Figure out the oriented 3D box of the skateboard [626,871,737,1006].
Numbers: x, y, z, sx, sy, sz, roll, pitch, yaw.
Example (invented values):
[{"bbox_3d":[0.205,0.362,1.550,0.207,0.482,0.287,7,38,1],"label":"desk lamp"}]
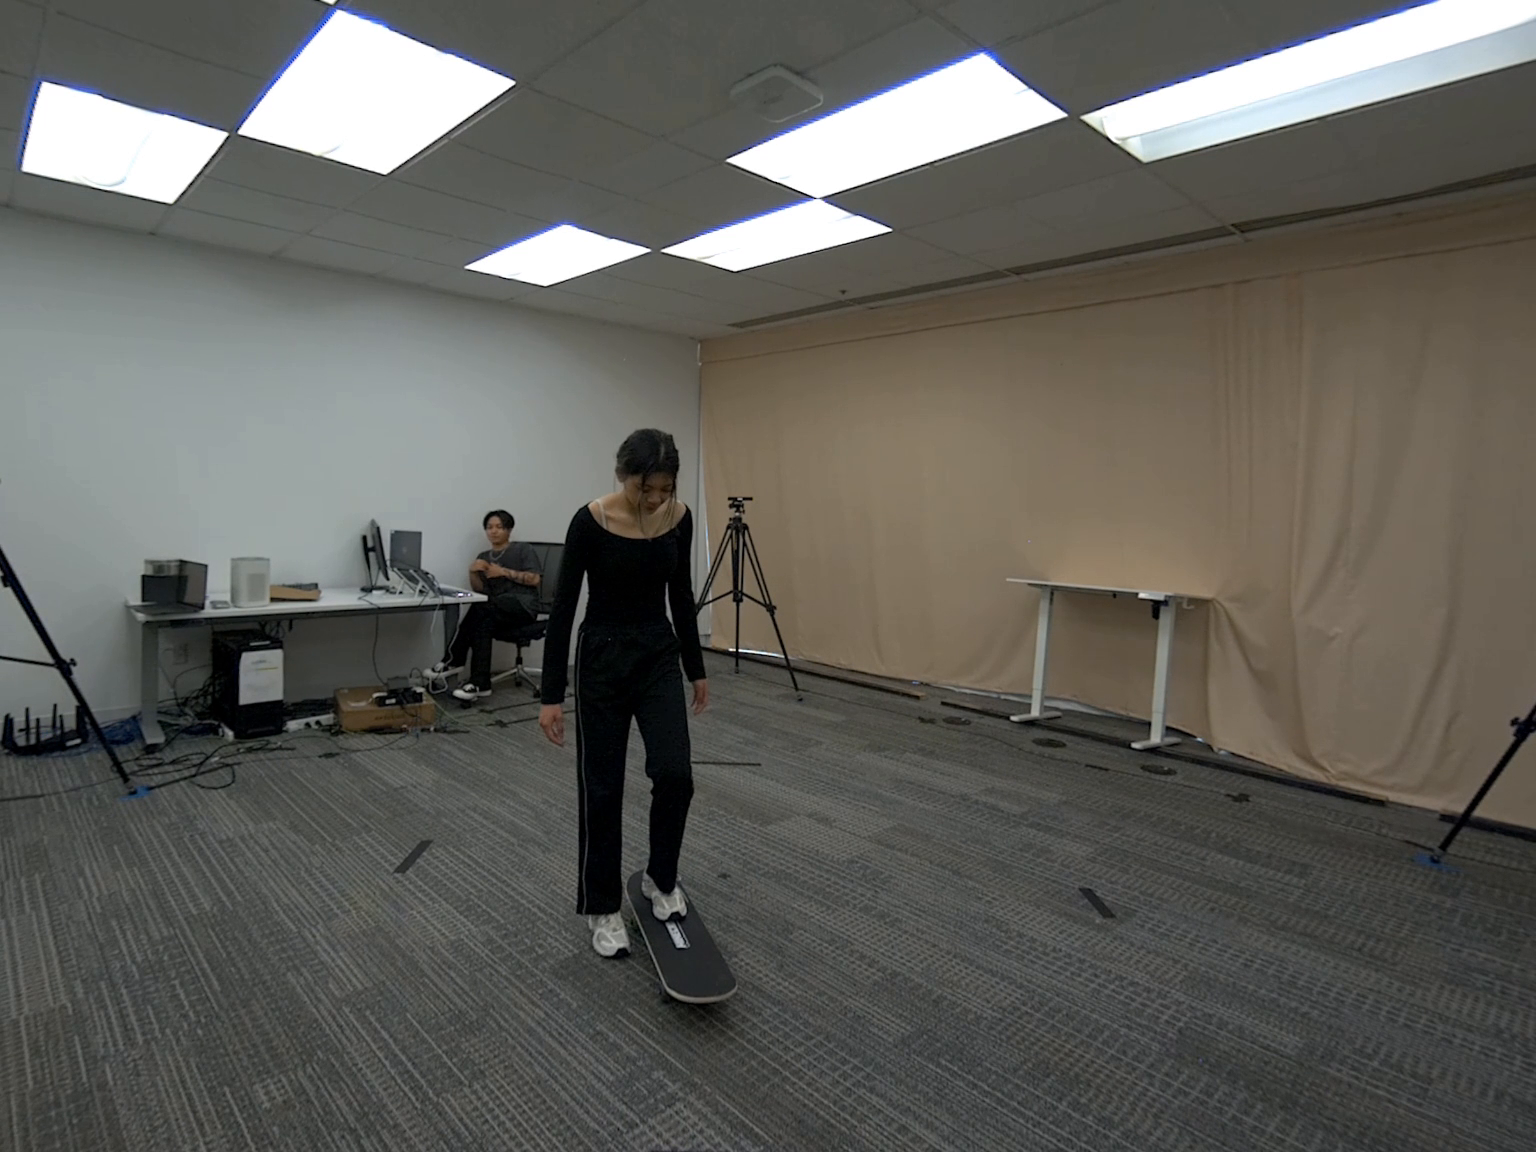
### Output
[{"bbox_3d":[-0.287,1.100,2.536,0.190,0.110,0.799,0,5,-20],"label":"skateboard"}]
